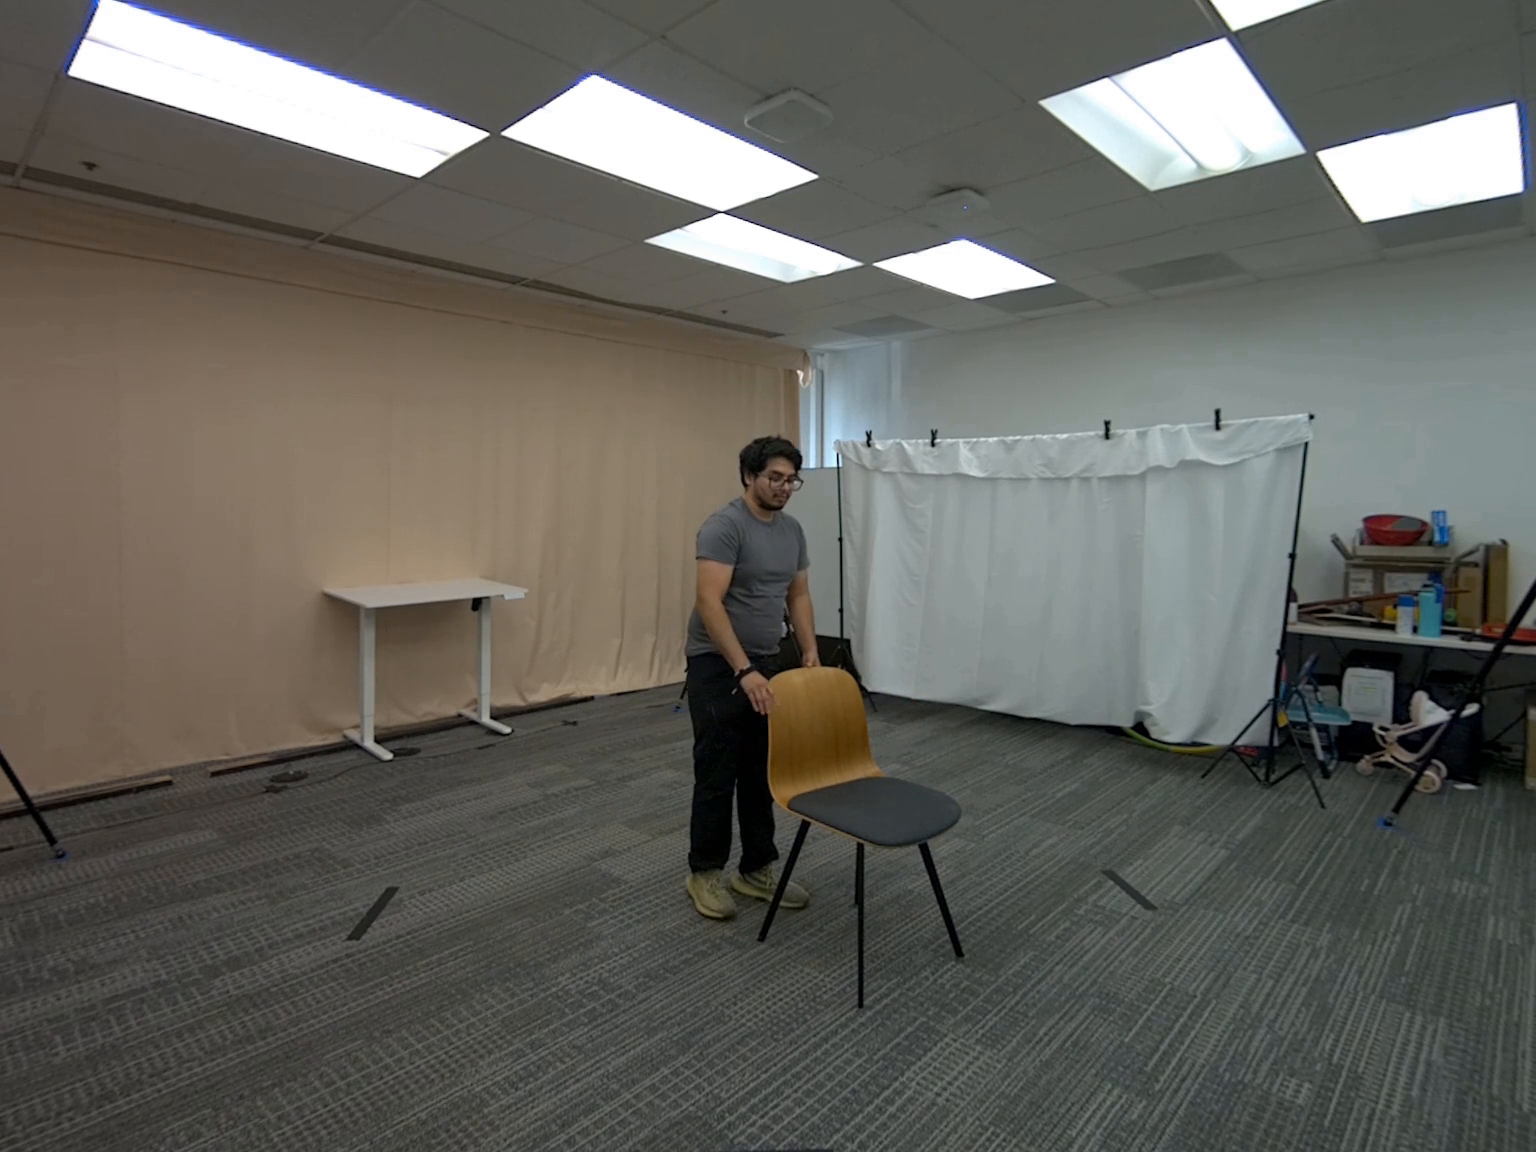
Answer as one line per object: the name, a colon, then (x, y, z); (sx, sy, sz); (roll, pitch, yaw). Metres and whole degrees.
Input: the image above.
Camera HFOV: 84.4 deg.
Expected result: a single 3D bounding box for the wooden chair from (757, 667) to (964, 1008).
wooden chair: (0.292, 0.746, 2.608); (0.464, 0.877, 0.539); (-3, 0, -38)
